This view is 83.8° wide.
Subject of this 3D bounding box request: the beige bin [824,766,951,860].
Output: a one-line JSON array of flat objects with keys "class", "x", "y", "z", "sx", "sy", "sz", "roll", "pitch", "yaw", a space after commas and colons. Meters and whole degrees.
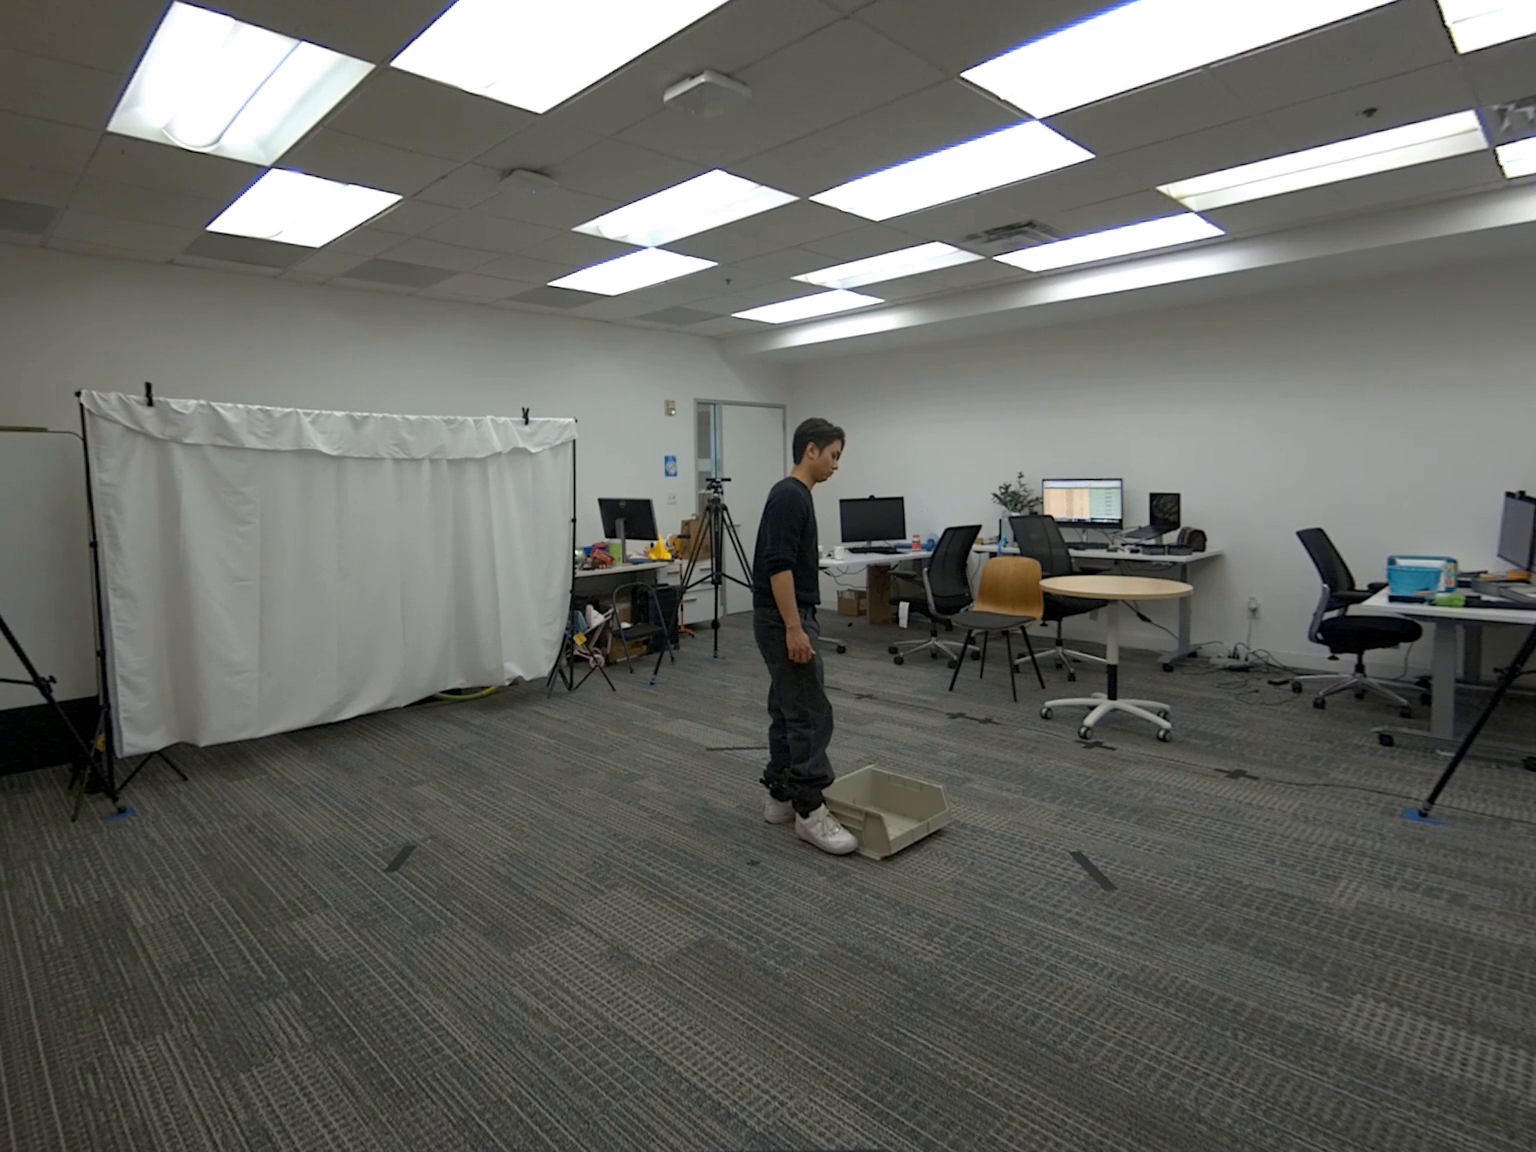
[{"class": "beige bin", "x": 0.446, "y": 0.921, "z": 3.339, "sx": 0.389, "sy": 0.188, "sz": 0.411, "roll": 2, "pitch": 7, "yaw": 44}]
